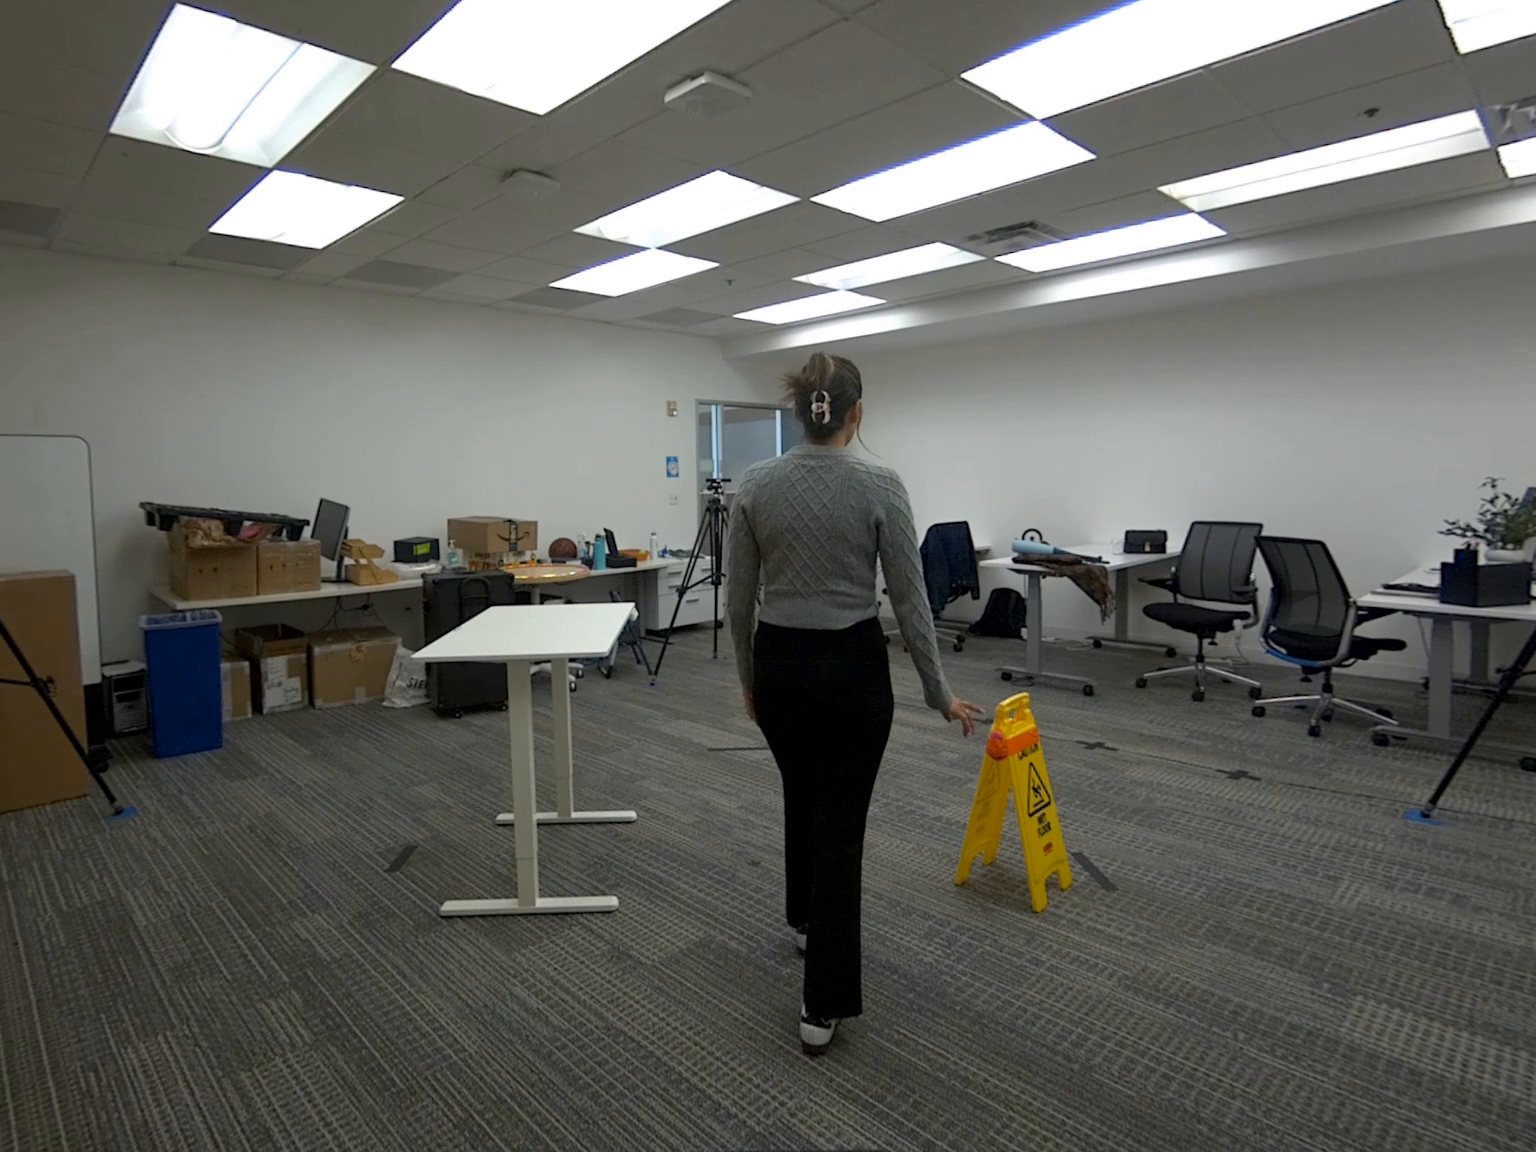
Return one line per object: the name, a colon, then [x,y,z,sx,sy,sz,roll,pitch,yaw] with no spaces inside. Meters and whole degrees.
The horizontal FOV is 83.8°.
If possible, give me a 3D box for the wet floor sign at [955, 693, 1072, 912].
wet floor sign: [0.838,0.733,2.892,0.298,0.643,0.275,3,6,42]
